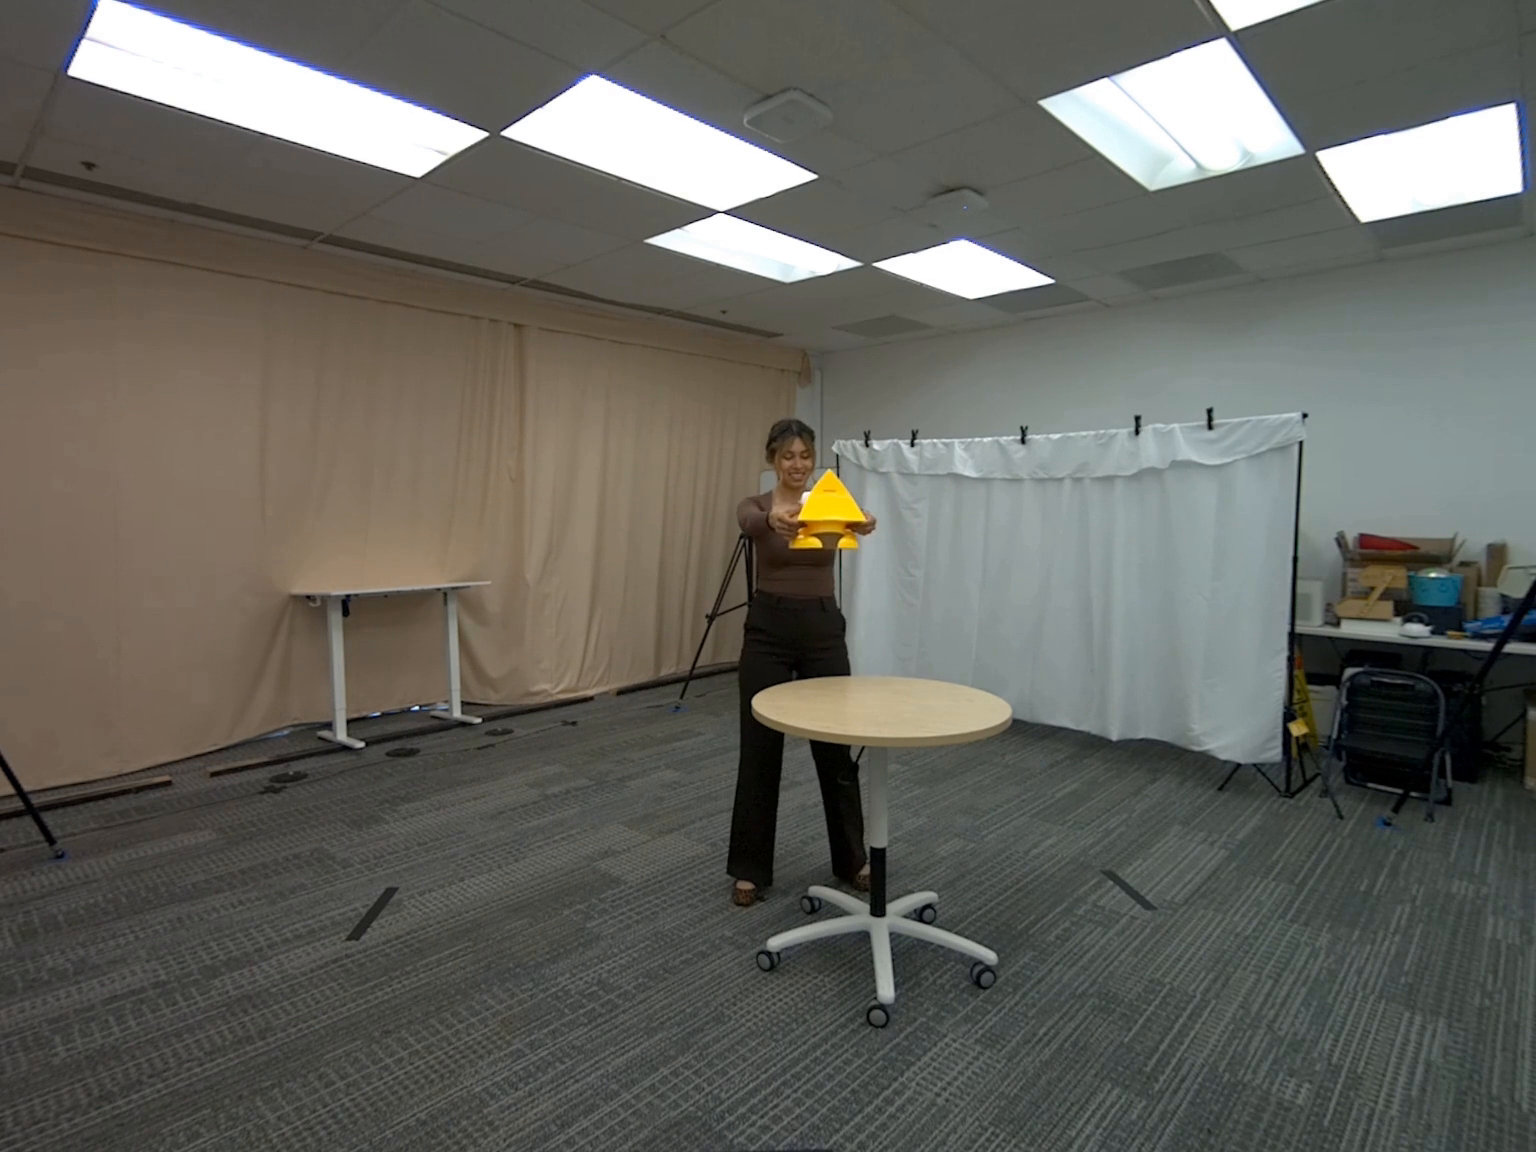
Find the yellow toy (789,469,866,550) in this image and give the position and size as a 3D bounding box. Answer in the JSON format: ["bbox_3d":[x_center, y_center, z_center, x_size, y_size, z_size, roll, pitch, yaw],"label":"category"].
[{"bbox_3d":[0.174,-0.197,2.521,0.203,0.231,0.195,1,0,-9],"label":"yellow toy"}]
